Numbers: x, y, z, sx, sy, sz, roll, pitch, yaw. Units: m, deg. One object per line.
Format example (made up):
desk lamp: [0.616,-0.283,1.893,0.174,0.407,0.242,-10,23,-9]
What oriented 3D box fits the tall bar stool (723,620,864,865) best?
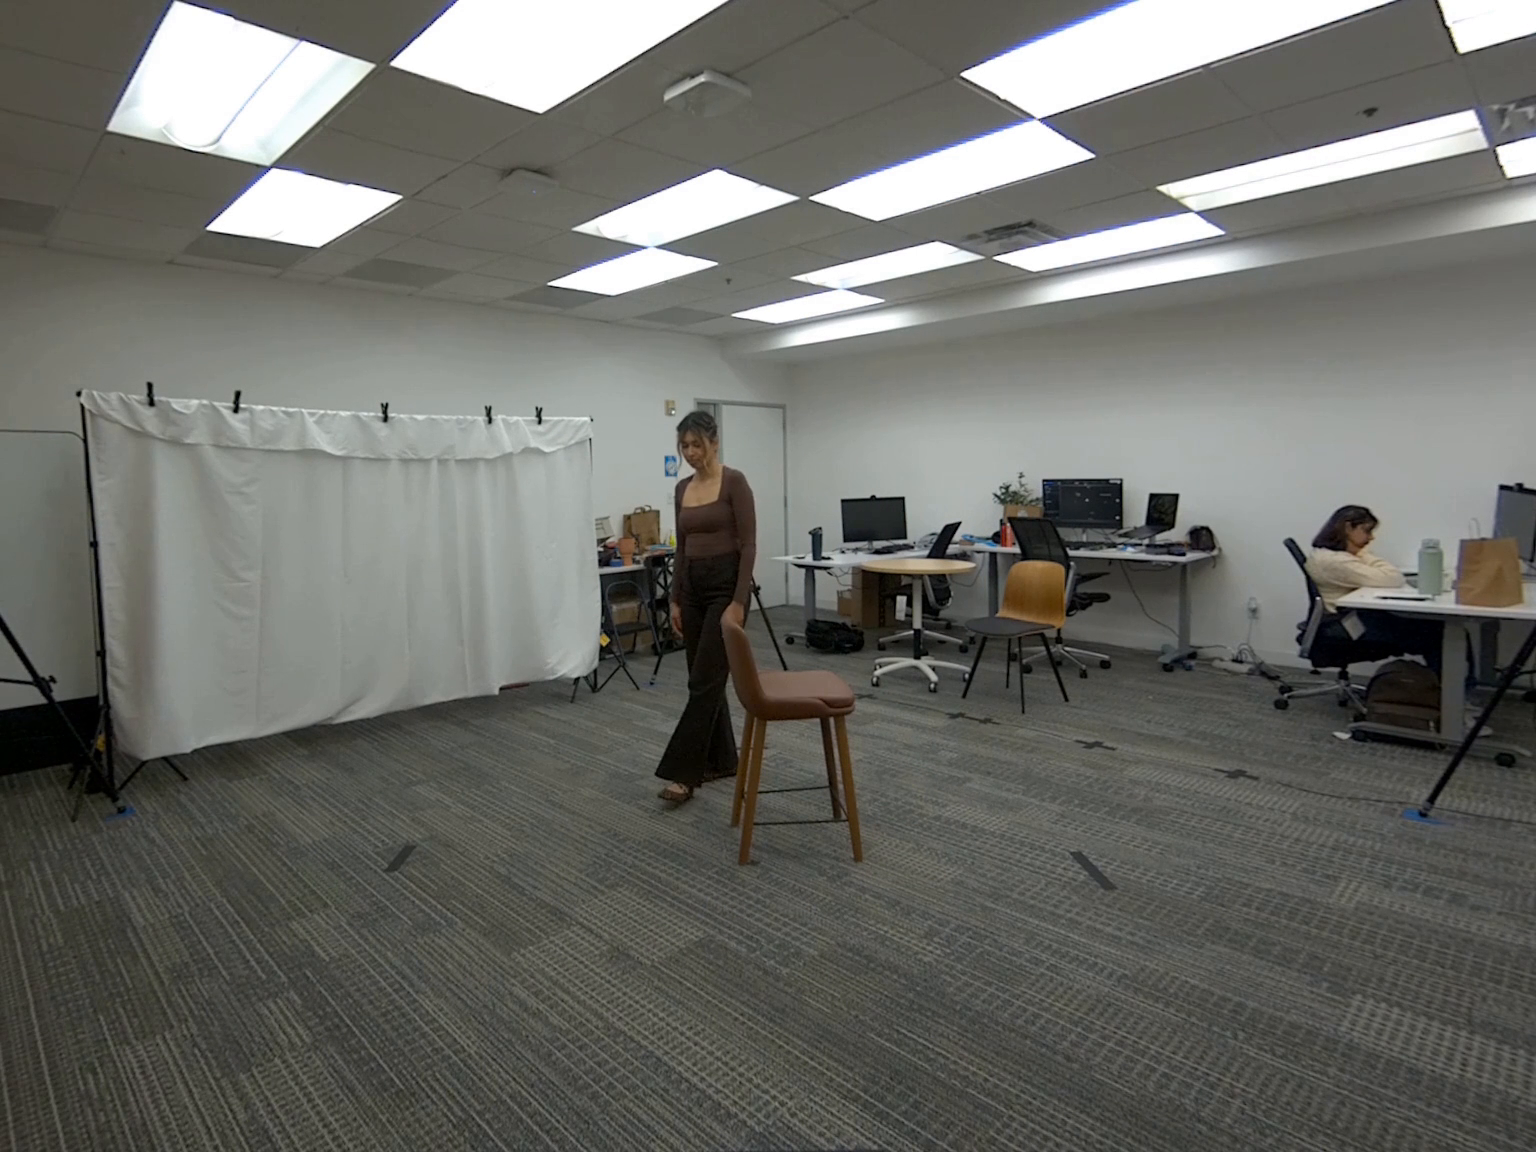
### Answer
tall bar stool: [0.088,0.586,3.264,0.465,0.886,0.461,-3,4,-6]
